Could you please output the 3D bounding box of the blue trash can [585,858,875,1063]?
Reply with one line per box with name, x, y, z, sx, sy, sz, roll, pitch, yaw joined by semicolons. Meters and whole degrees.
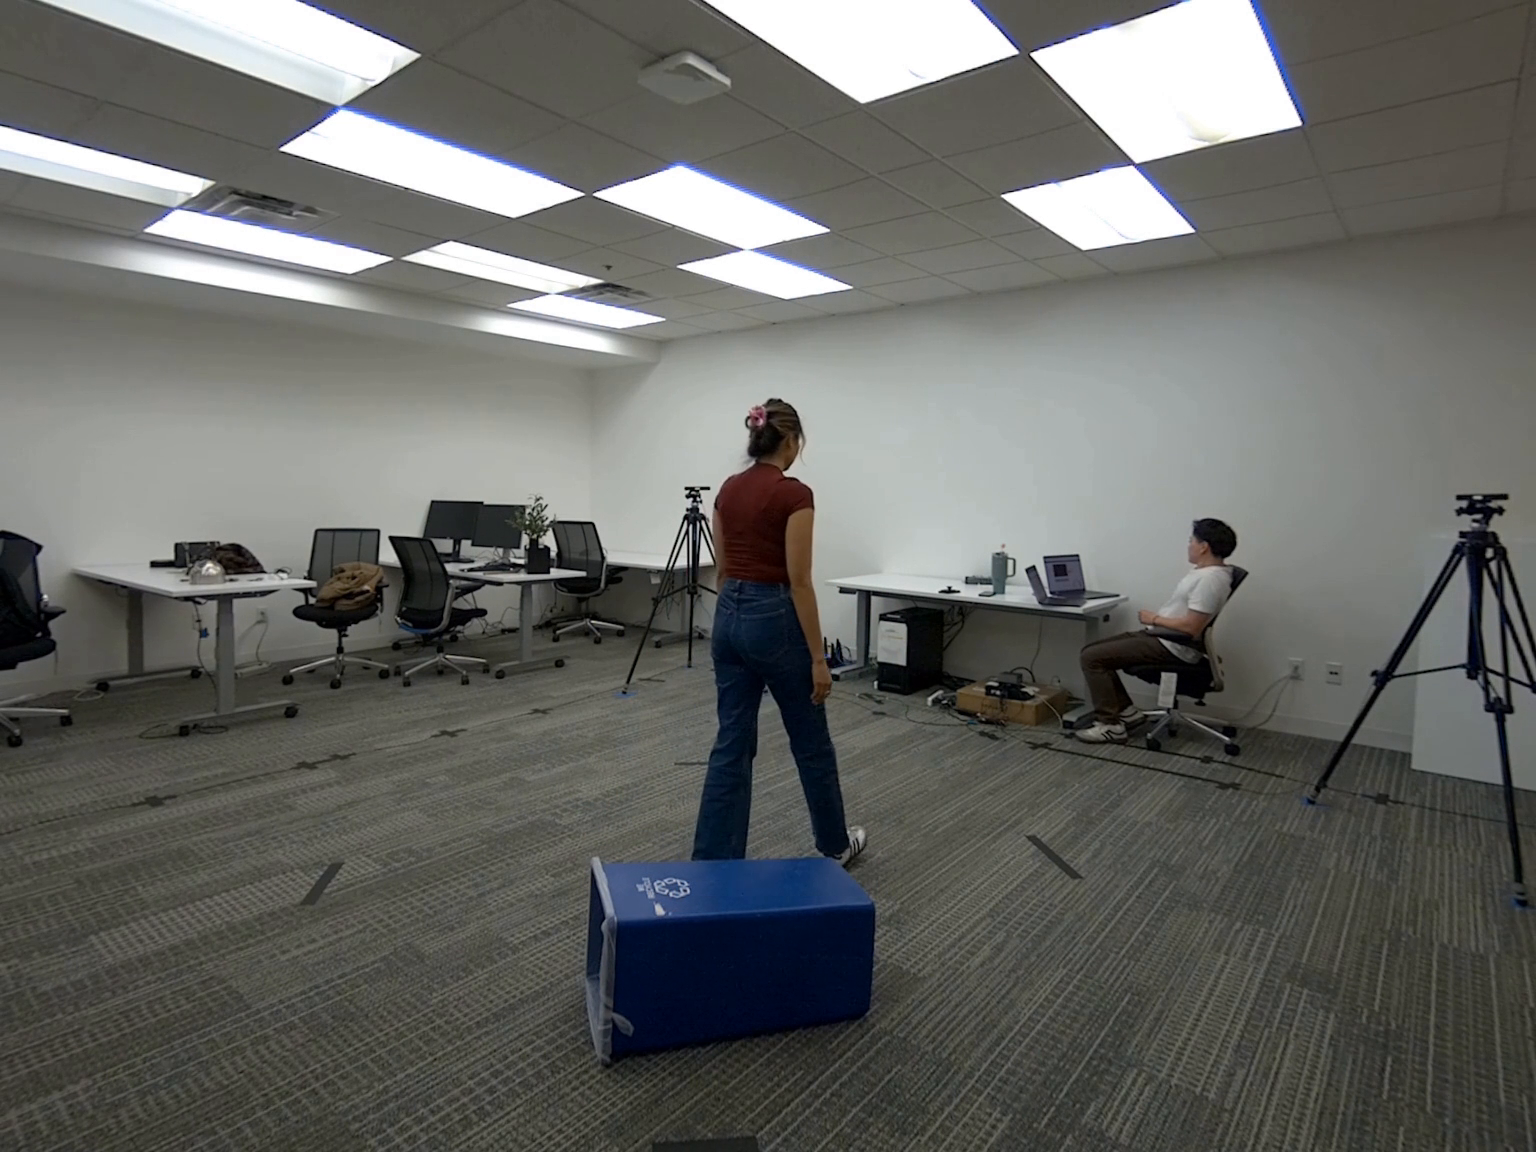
blue trash can;-0.119;0.981;2.288;0.701;0.377;0.382;2;4;-17
